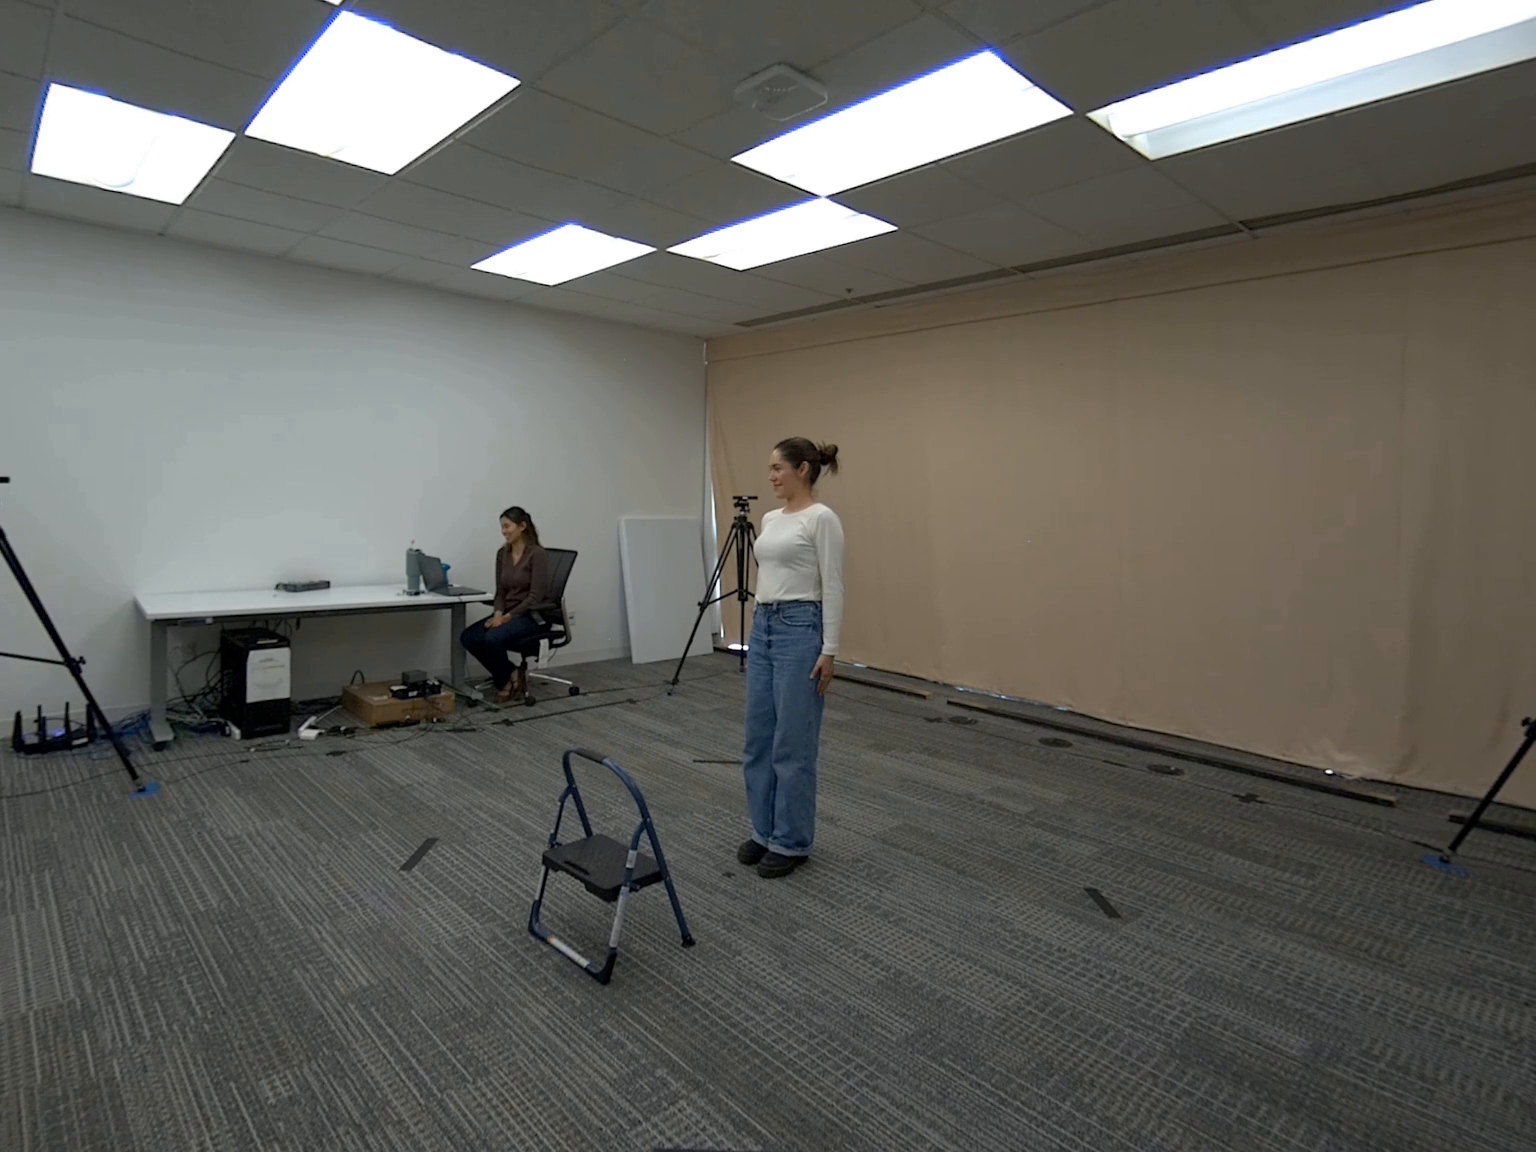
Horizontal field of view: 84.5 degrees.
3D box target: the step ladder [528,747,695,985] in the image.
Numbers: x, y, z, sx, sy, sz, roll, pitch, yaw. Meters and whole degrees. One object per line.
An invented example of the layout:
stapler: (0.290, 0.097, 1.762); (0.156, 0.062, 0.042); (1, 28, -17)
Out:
step ladder: (-0.497, 0.839, 2.626); (0.441, 0.605, 0.341); (4, 4, 43)
